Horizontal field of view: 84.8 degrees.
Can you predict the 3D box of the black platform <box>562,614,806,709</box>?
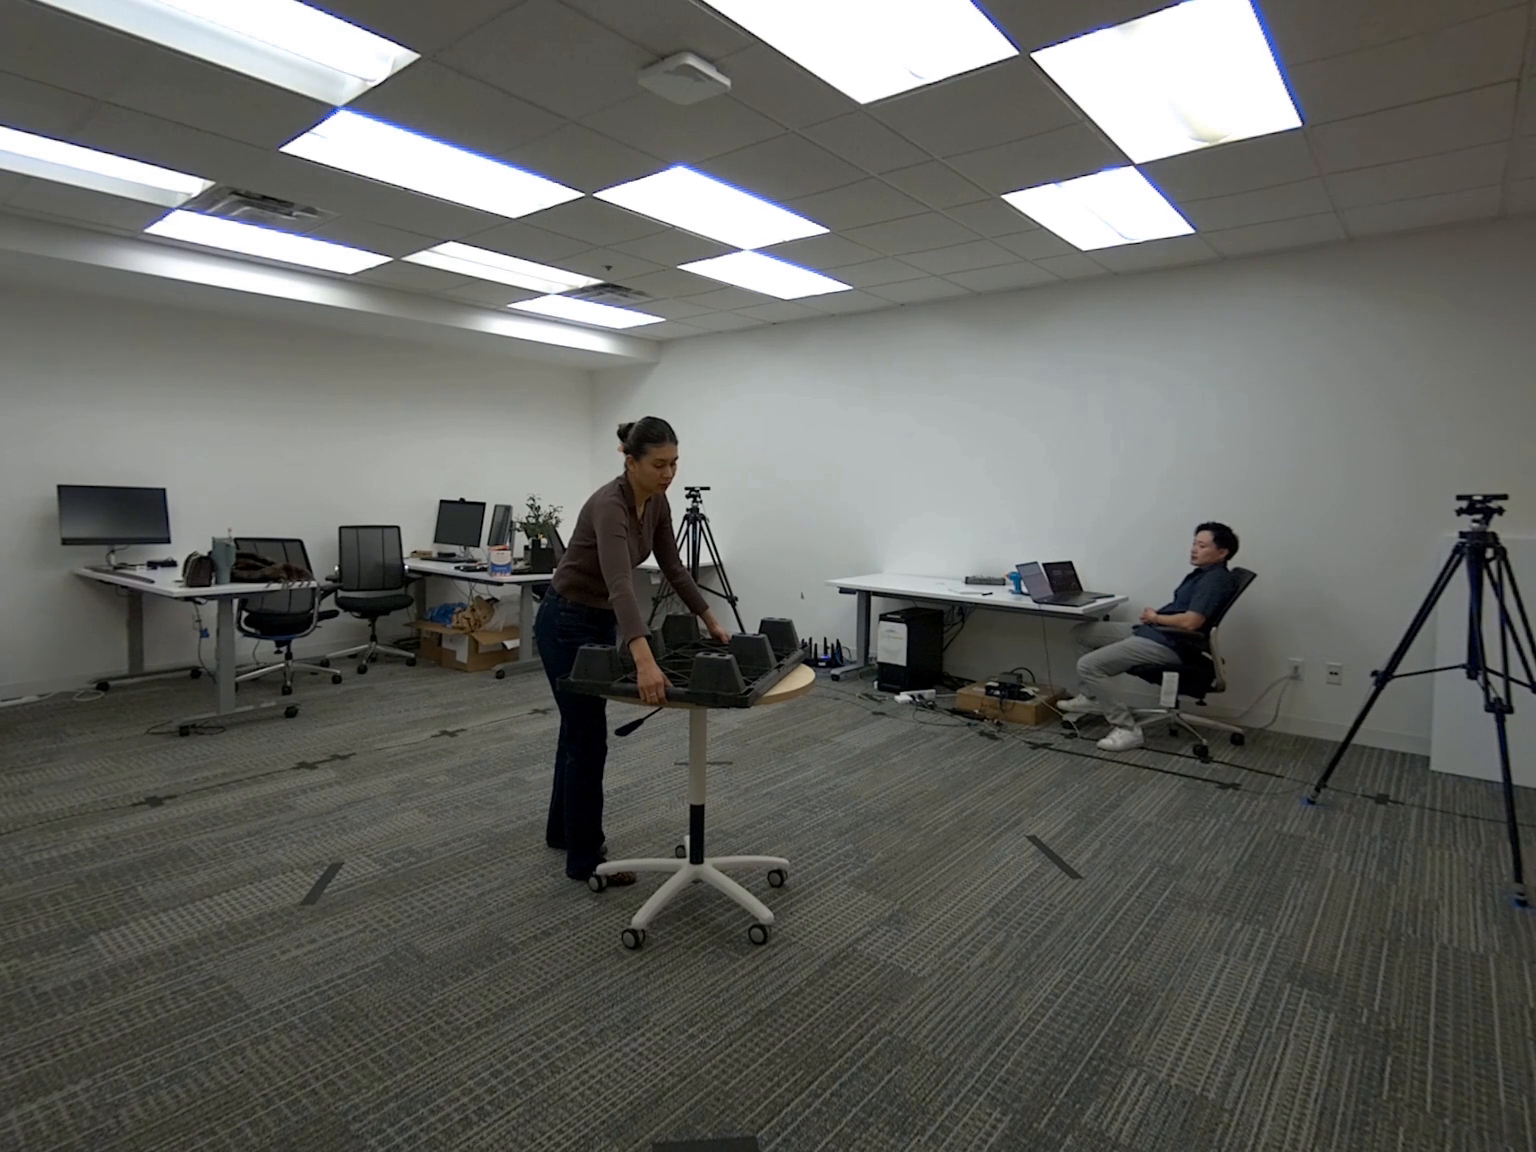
[{"bbox_3d":[-0.251,0.251,2.803,0.617,0.143,0.793,2,6,17],"label":"black platform"}]
